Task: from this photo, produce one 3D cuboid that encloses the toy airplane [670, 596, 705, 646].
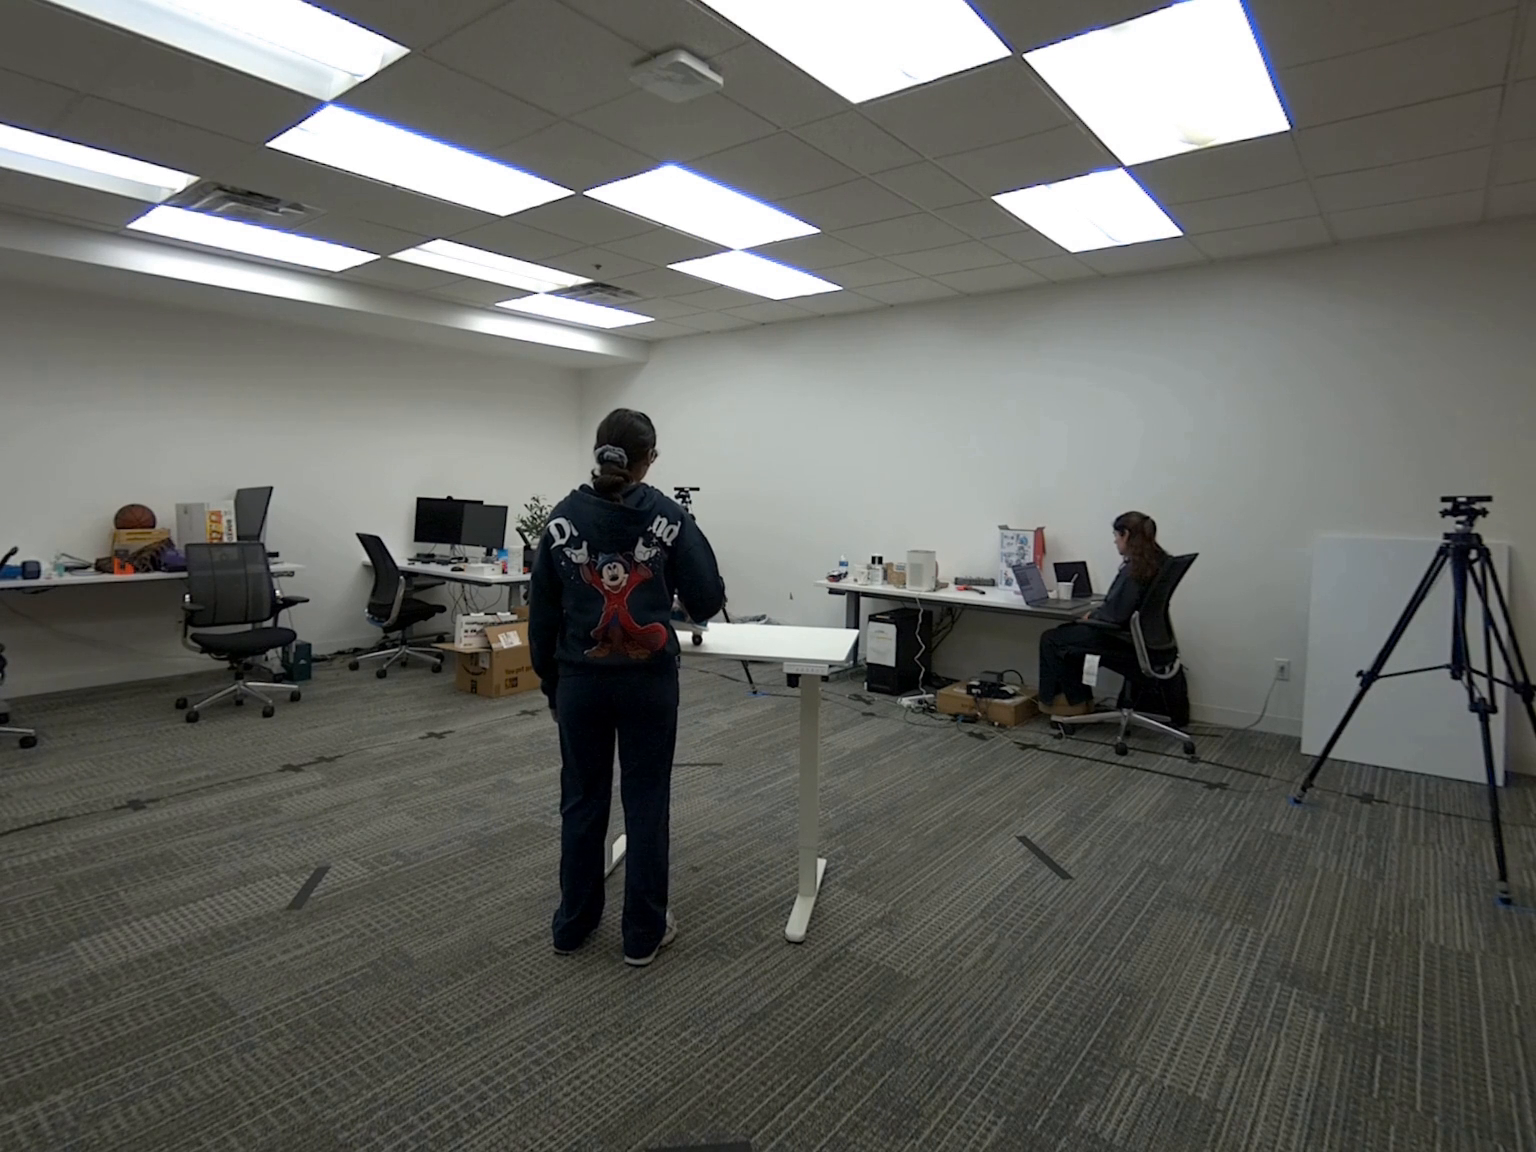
[{"bbox_3d":[-0.323,0.143,2.768,0.252,0.156,0.259,-2,6,-36],"label":"toy airplane"}]
